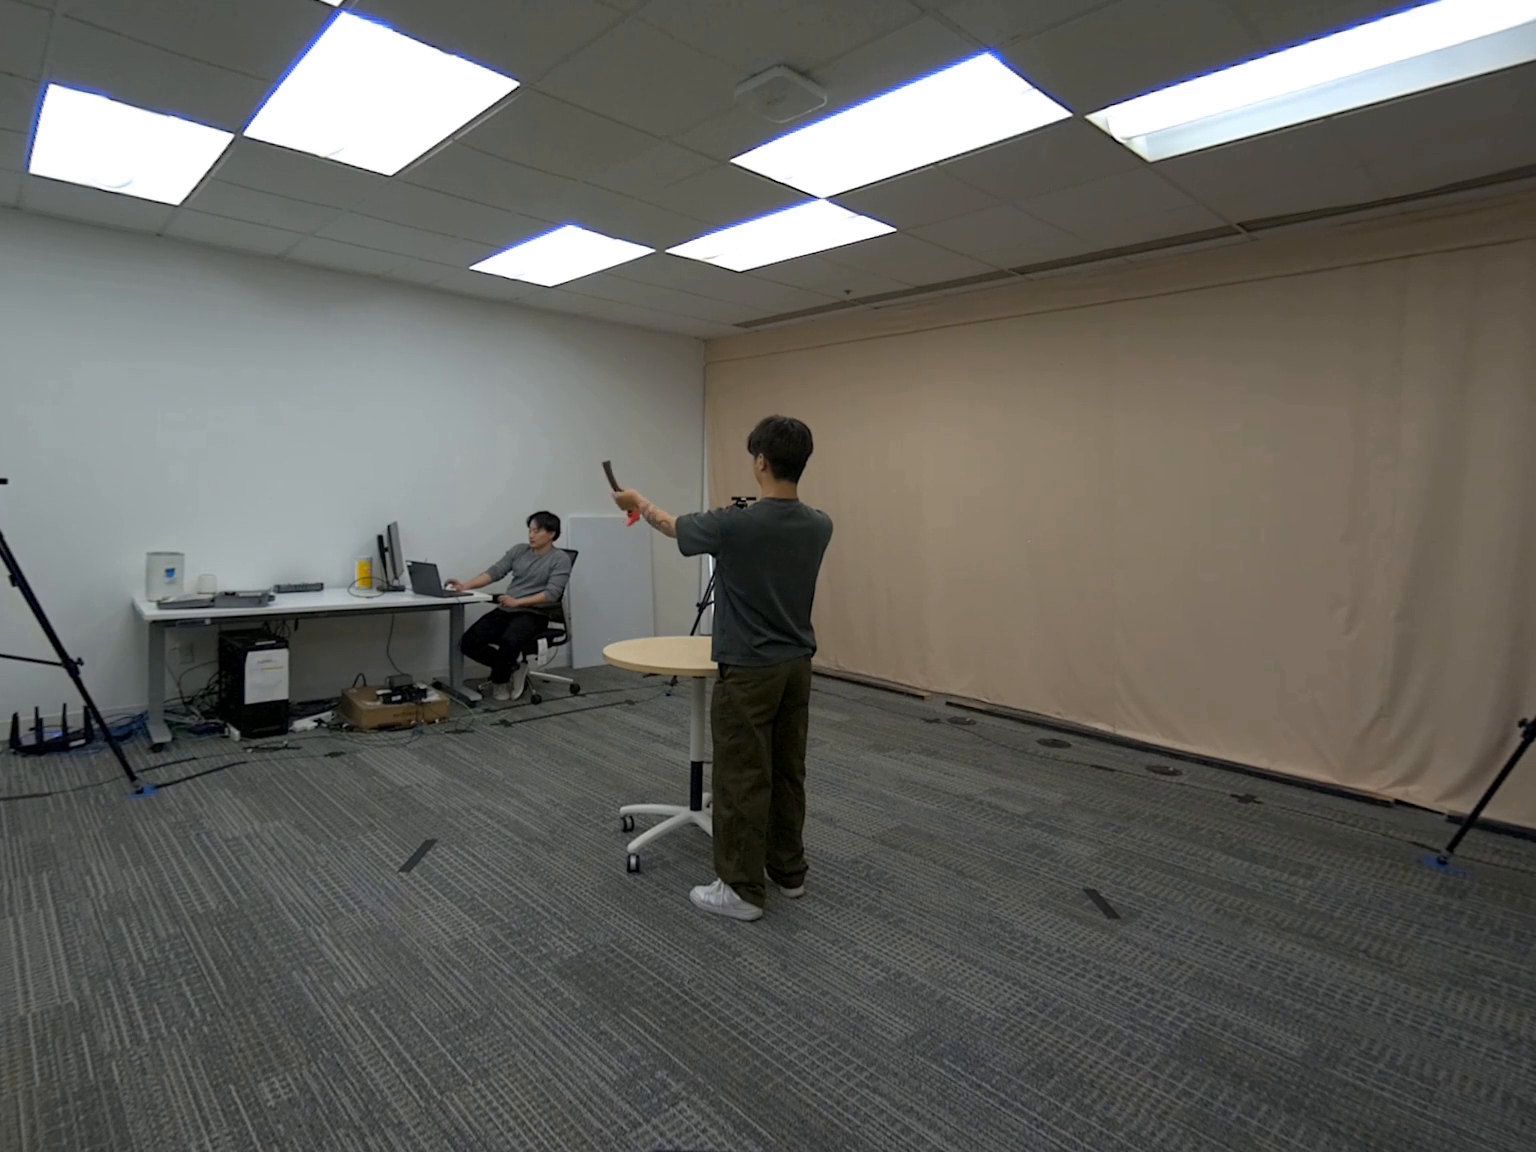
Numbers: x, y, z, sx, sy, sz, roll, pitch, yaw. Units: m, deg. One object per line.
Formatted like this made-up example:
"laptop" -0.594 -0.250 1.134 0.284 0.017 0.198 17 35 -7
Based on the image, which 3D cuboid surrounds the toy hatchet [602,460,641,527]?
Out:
"toy hatchet" -0.538 -0.323 3.159 0.030 0.265 0.130 -5 23 36
